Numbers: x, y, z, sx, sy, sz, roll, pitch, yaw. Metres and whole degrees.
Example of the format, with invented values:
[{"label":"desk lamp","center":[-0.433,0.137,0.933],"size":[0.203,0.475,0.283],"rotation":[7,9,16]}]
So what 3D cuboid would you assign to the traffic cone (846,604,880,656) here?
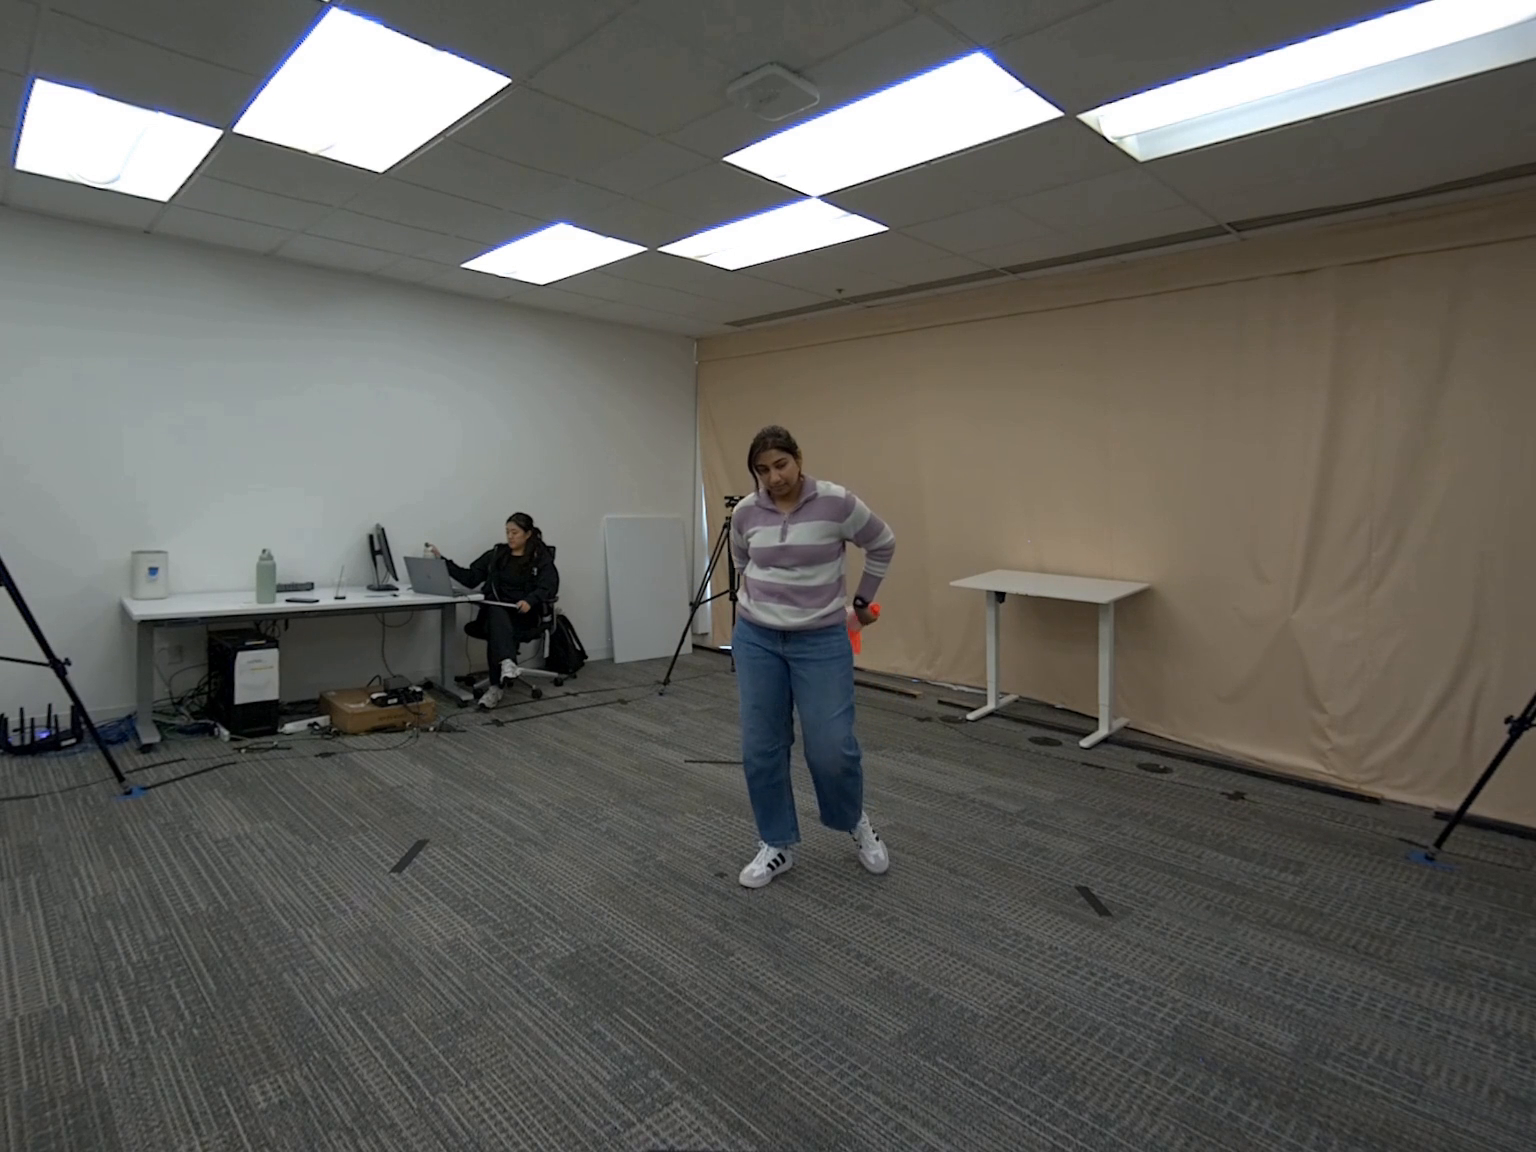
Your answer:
[{"label":"traffic cone","center":[0.345,0.166,3.309],"size":[0.201,0.208,0.384],"rotation":[9,-20,-16]}]
